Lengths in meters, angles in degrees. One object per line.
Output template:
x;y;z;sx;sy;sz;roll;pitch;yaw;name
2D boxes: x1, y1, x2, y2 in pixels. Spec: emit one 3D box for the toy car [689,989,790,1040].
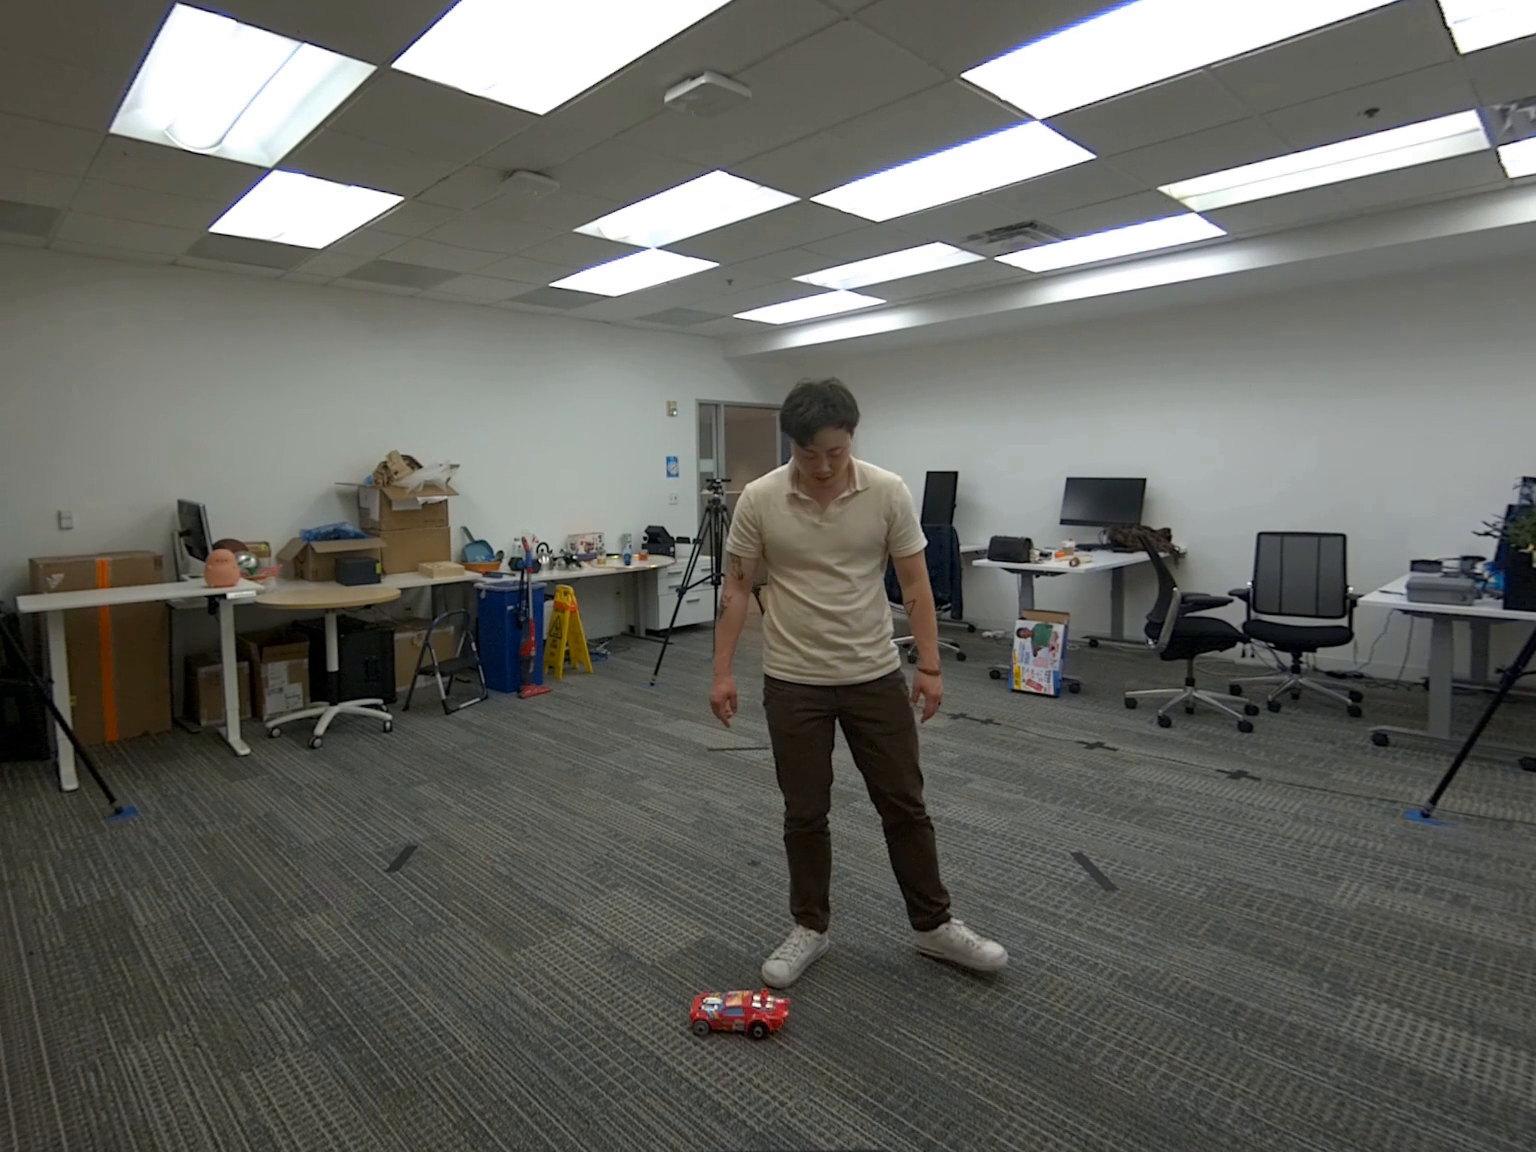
-0.060;1.125;2.182;0.256;0.083;0.129;-12;3;9;toy car
